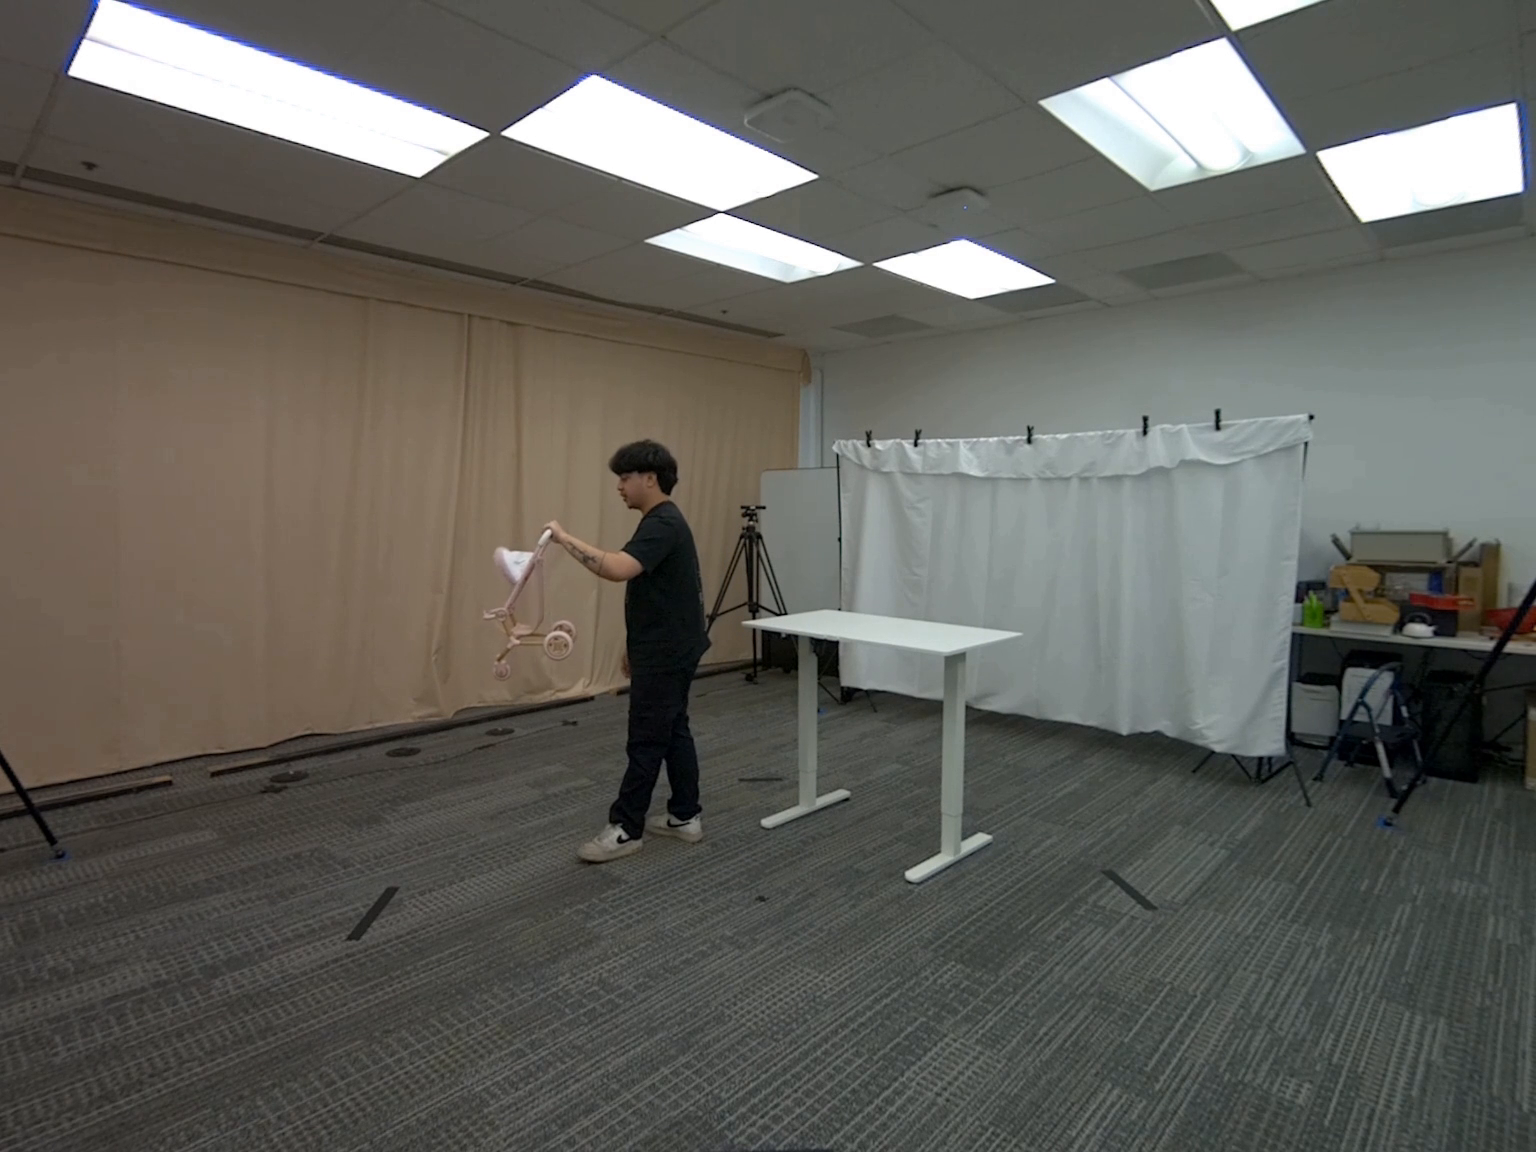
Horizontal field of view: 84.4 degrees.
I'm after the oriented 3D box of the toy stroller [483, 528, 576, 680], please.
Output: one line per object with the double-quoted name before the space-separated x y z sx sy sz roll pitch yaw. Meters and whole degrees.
"toy stroller" -0.938 0.112 3.225 0.341 0.532 0.283 -8 6 -2
